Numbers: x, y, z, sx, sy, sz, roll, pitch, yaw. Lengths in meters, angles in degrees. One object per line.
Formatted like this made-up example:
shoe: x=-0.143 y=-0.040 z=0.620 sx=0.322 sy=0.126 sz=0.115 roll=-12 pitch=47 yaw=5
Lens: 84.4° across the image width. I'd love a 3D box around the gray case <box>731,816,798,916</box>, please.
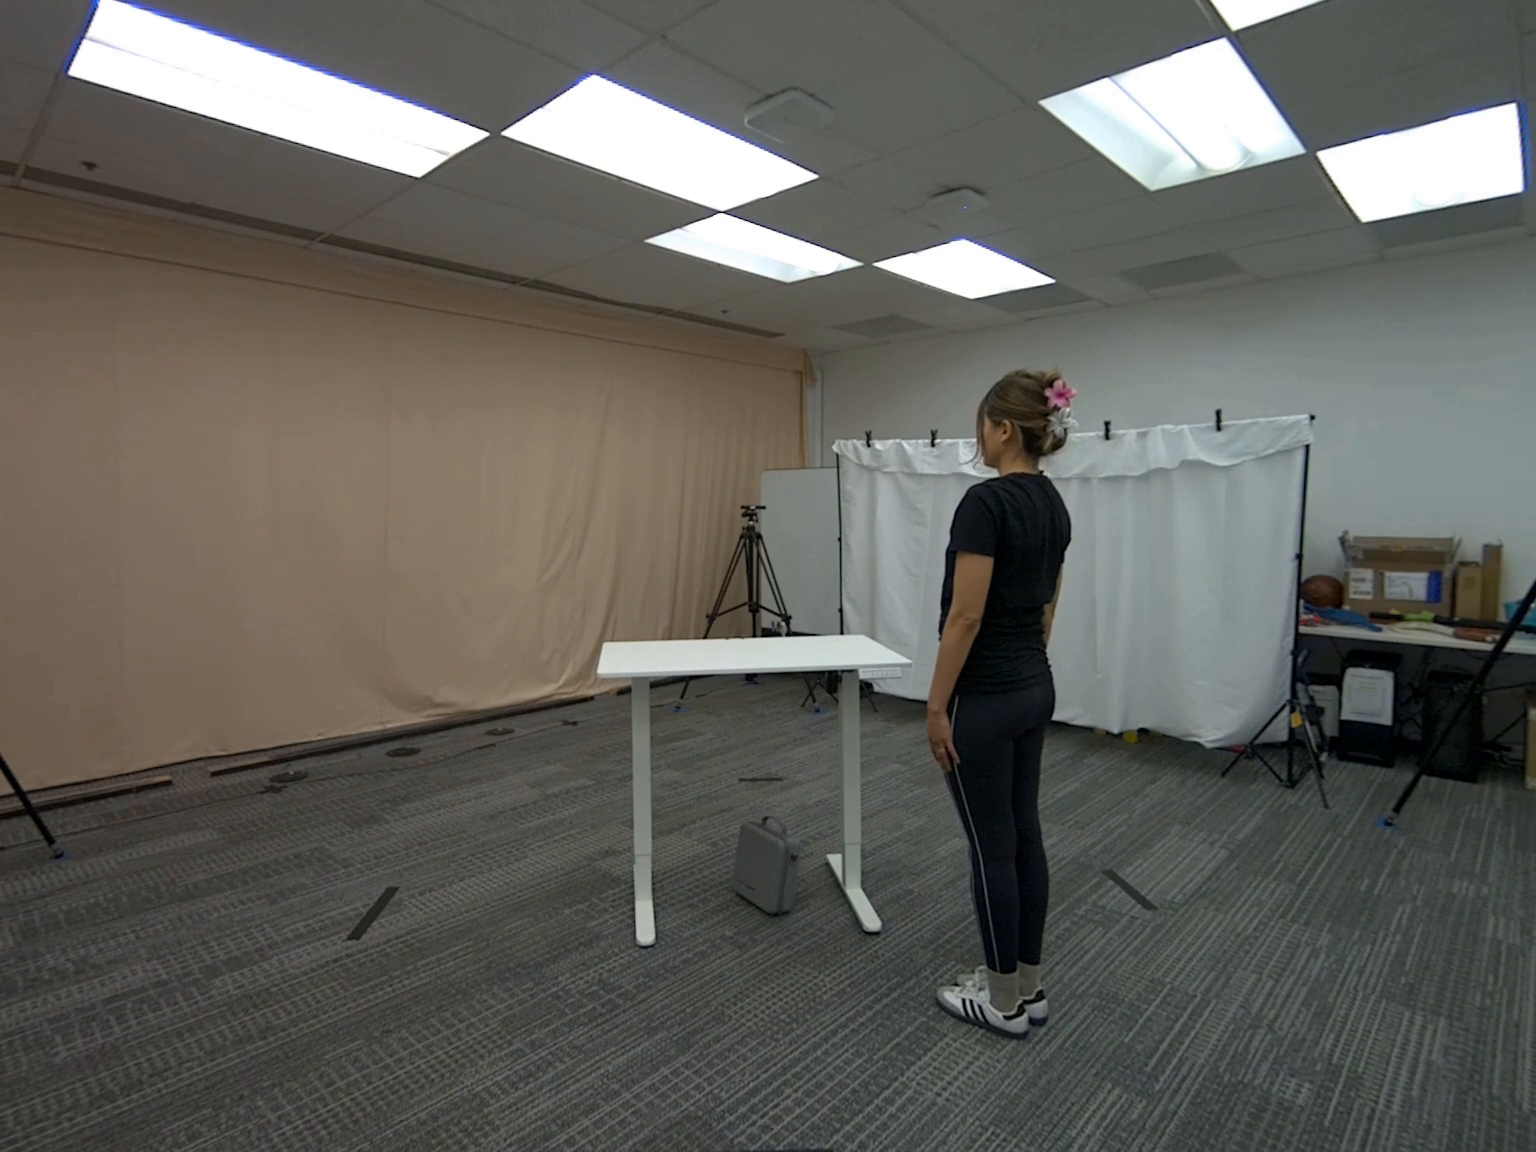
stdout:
gray case: x=-0.005 y=1.017 z=2.961 sx=0.101 sy=0.261 sz=0.265 roll=11 pitch=-2 yaw=-35
